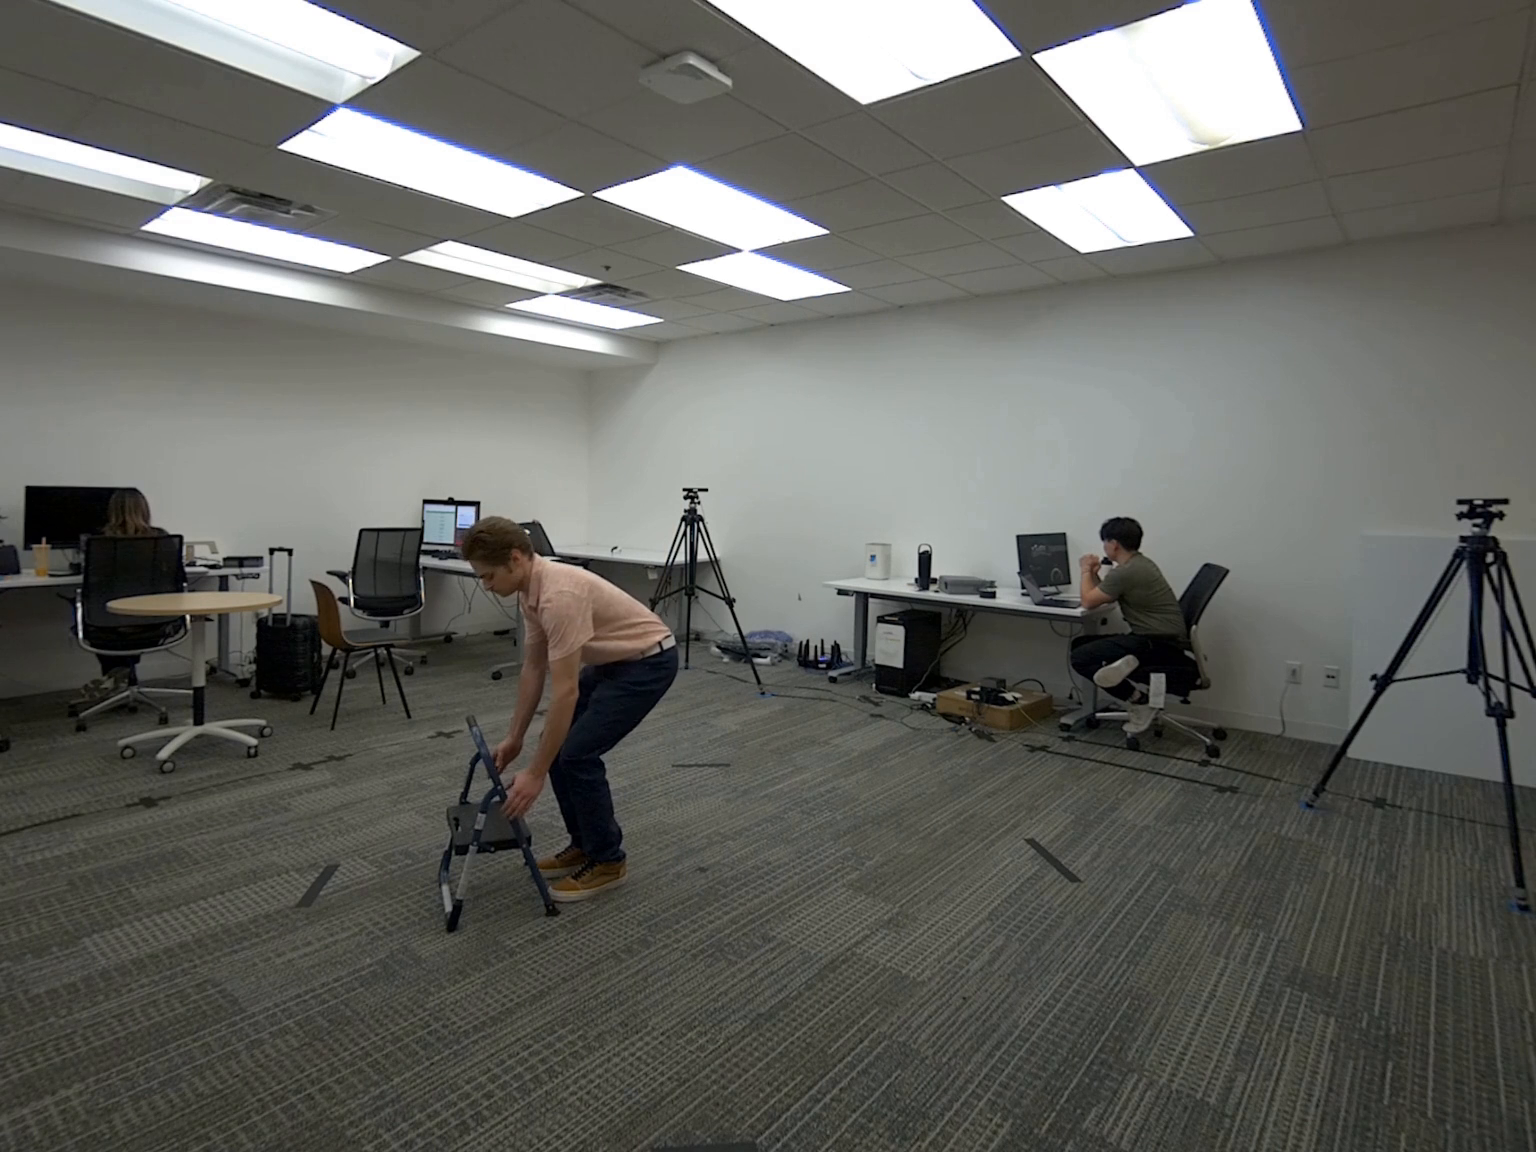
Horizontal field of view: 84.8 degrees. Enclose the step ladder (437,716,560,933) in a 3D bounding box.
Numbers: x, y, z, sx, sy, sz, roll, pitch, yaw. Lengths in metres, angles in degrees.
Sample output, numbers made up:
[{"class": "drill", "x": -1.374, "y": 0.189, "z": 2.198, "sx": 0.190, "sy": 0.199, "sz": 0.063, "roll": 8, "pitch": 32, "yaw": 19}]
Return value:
[{"class": "step ladder", "x": -0.932, "y": 0.779, "z": 2.870, "sx": 0.341, "sy": 0.604, "sz": 0.442, "roll": -1, "pitch": 5, "yaw": -25}]
